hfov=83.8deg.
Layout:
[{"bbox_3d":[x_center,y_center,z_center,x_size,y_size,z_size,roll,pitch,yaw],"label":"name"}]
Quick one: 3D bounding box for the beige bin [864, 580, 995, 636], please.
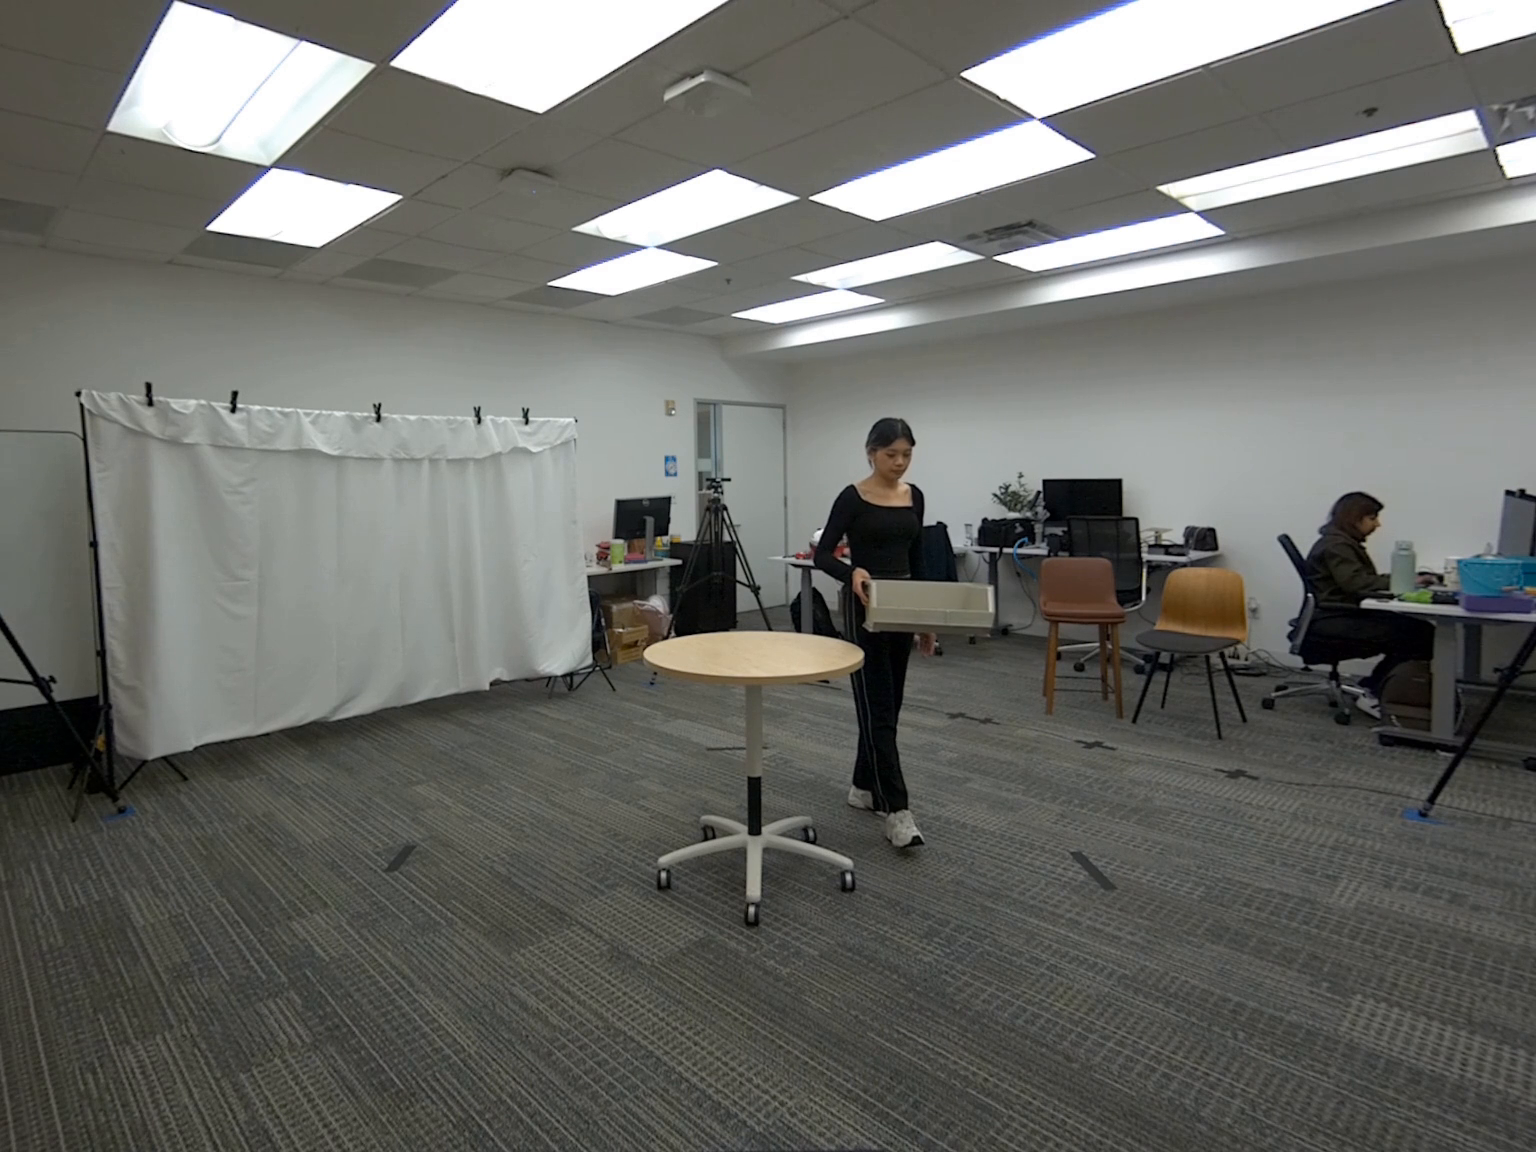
[{"bbox_3d":[0.586,0.127,3.115,0.426,0.189,0.373,3,0,8],"label":"beige bin"}]
